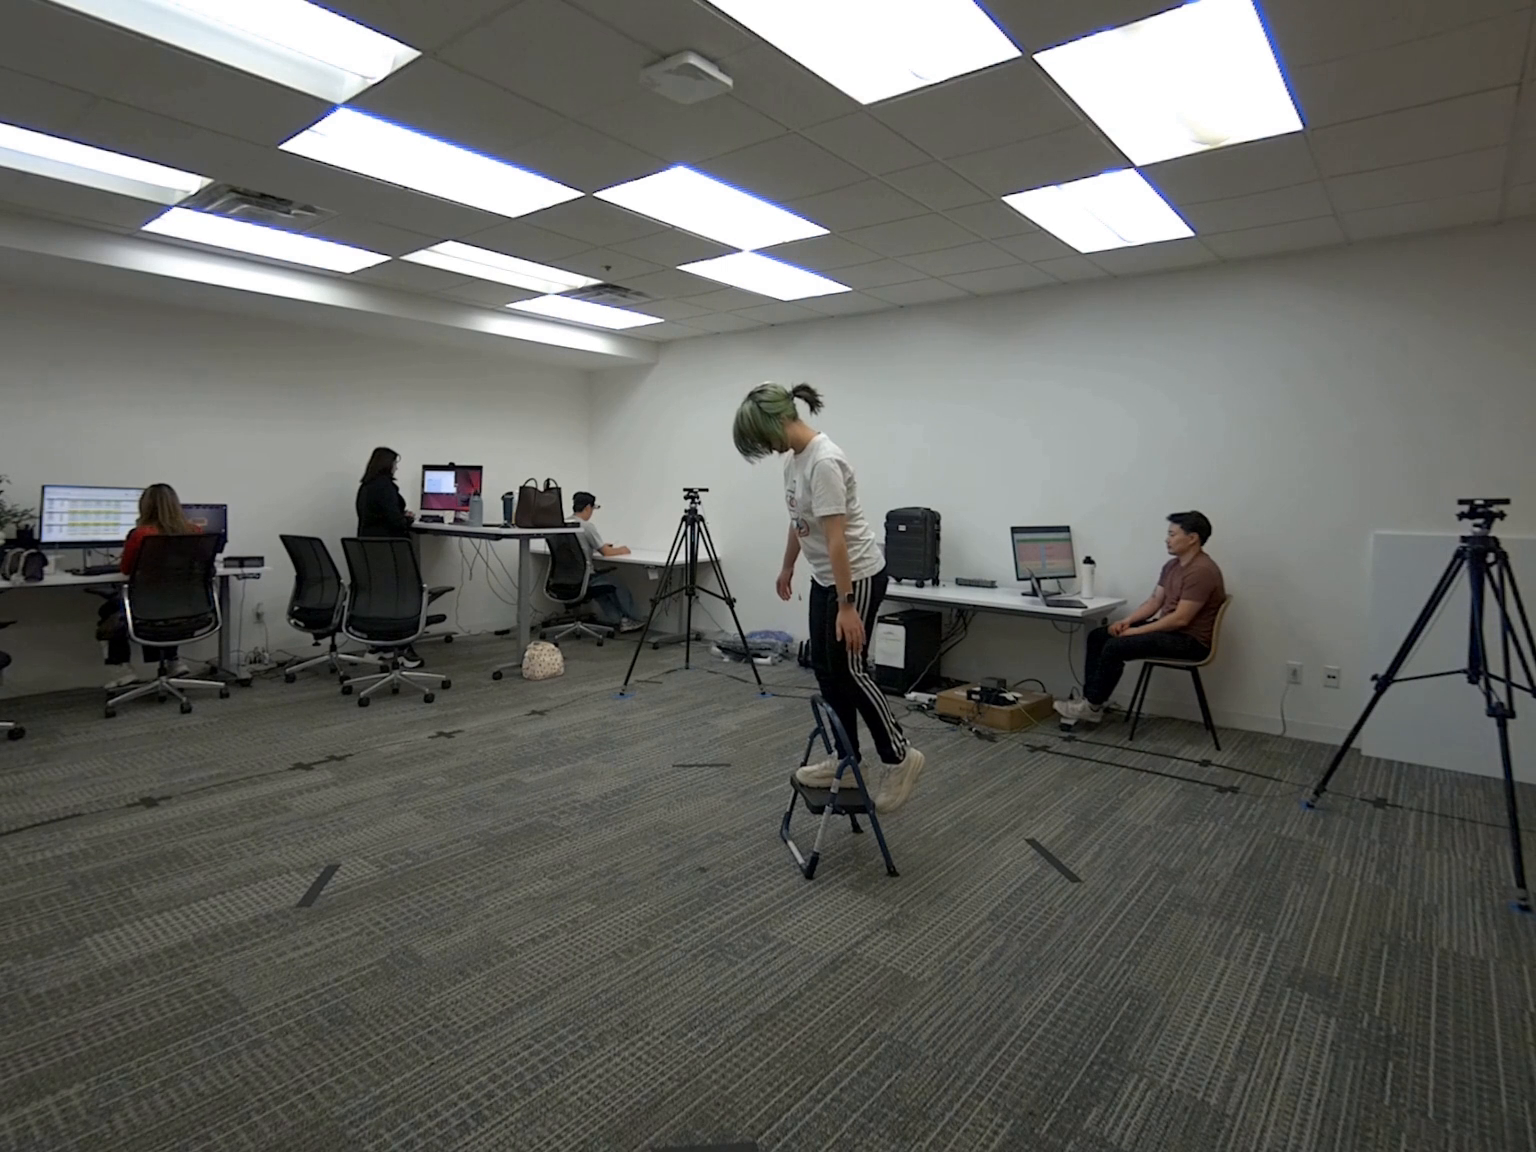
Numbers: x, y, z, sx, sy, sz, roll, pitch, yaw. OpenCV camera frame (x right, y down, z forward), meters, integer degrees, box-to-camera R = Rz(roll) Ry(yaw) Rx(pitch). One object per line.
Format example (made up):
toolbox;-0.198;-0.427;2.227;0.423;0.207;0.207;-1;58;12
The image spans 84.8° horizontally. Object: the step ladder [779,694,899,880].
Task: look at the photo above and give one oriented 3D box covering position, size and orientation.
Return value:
step ladder;0.259;0.771;3.255;0.345;0.604;0.437;1;4;-11
